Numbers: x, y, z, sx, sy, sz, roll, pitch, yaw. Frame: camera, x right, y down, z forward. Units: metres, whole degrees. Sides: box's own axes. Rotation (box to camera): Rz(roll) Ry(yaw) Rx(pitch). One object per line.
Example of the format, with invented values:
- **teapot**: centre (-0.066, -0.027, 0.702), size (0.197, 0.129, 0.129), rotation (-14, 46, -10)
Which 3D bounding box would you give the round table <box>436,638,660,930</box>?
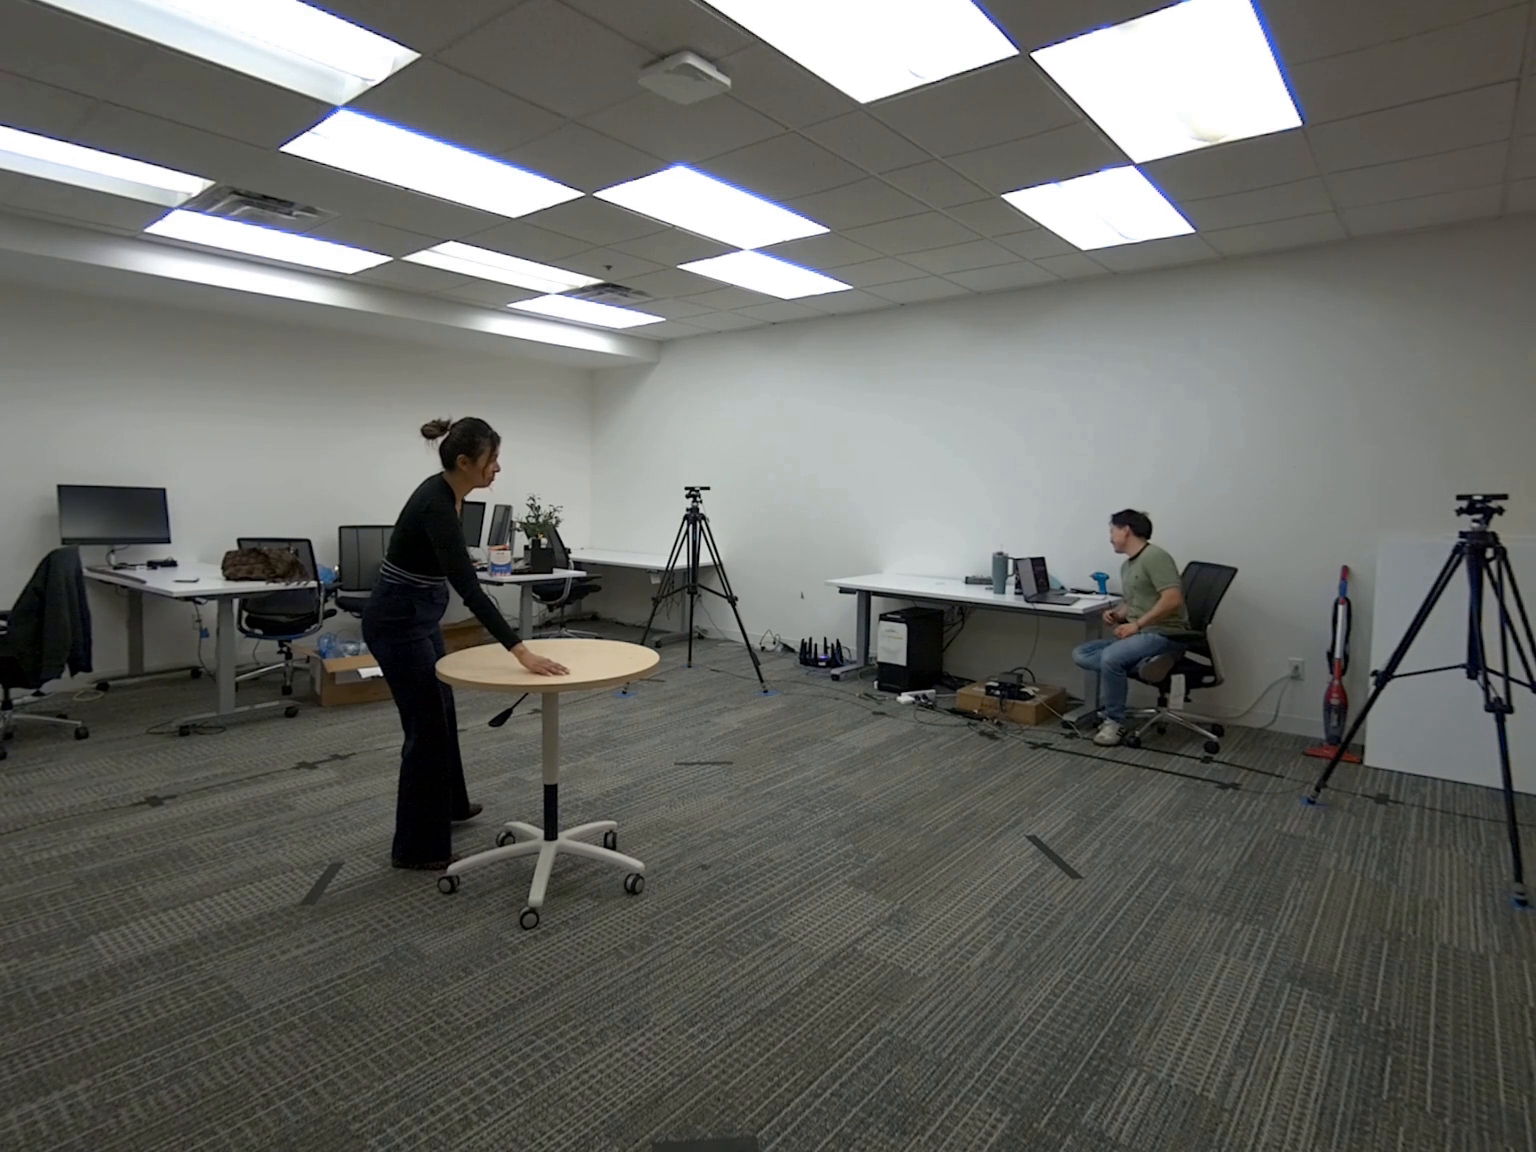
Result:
- **round table**: centre (-0.776, 0.679, 2.998), size (0.763, 0.791, 0.768), rotation (0, 4, -2)
